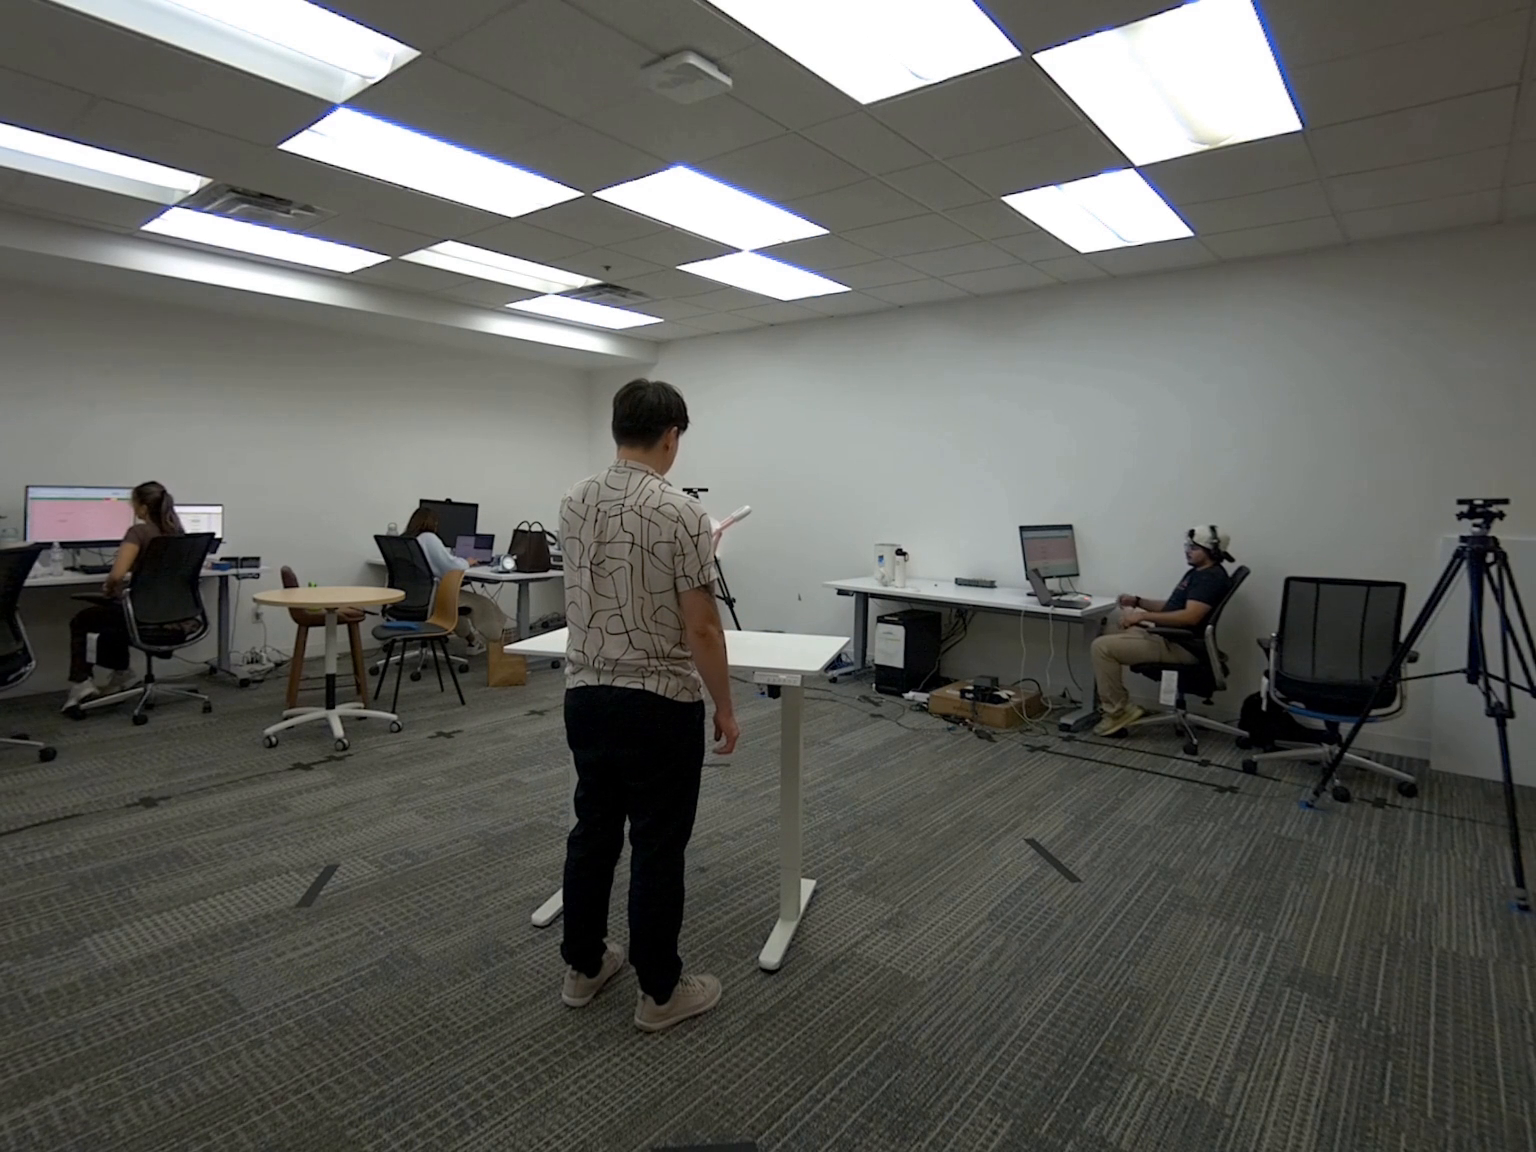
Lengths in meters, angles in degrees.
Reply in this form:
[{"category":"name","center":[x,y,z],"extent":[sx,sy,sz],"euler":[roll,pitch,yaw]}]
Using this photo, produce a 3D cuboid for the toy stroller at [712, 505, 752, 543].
[{"category":"toy stroller","center":[-0.294,-0.019,2.841],"extent":[0.342,0.533,0.282],"euler":[14,4,1]}]
